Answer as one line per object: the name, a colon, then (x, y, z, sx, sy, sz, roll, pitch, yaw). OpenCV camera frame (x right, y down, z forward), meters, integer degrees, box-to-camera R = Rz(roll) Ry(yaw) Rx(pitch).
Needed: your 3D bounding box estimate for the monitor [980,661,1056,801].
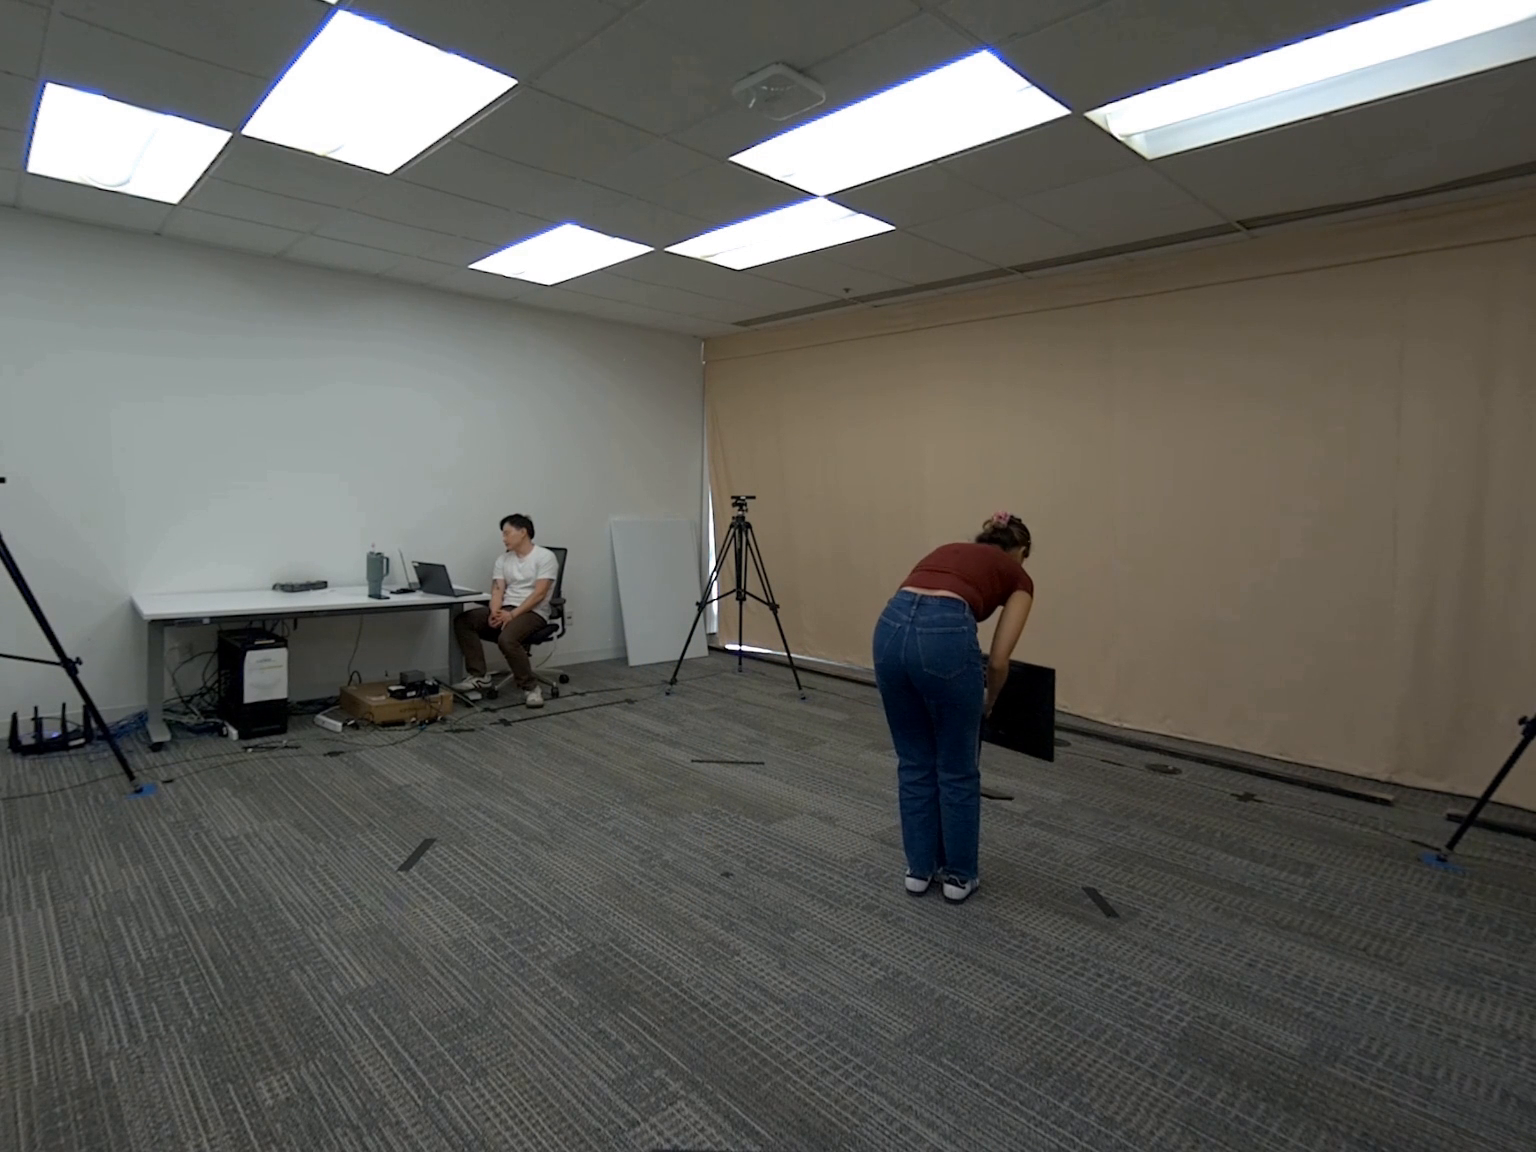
monitor: (0.813, 0.563, 3.213, 0.182, 0.523, 0.553, 9, -1, -42)
